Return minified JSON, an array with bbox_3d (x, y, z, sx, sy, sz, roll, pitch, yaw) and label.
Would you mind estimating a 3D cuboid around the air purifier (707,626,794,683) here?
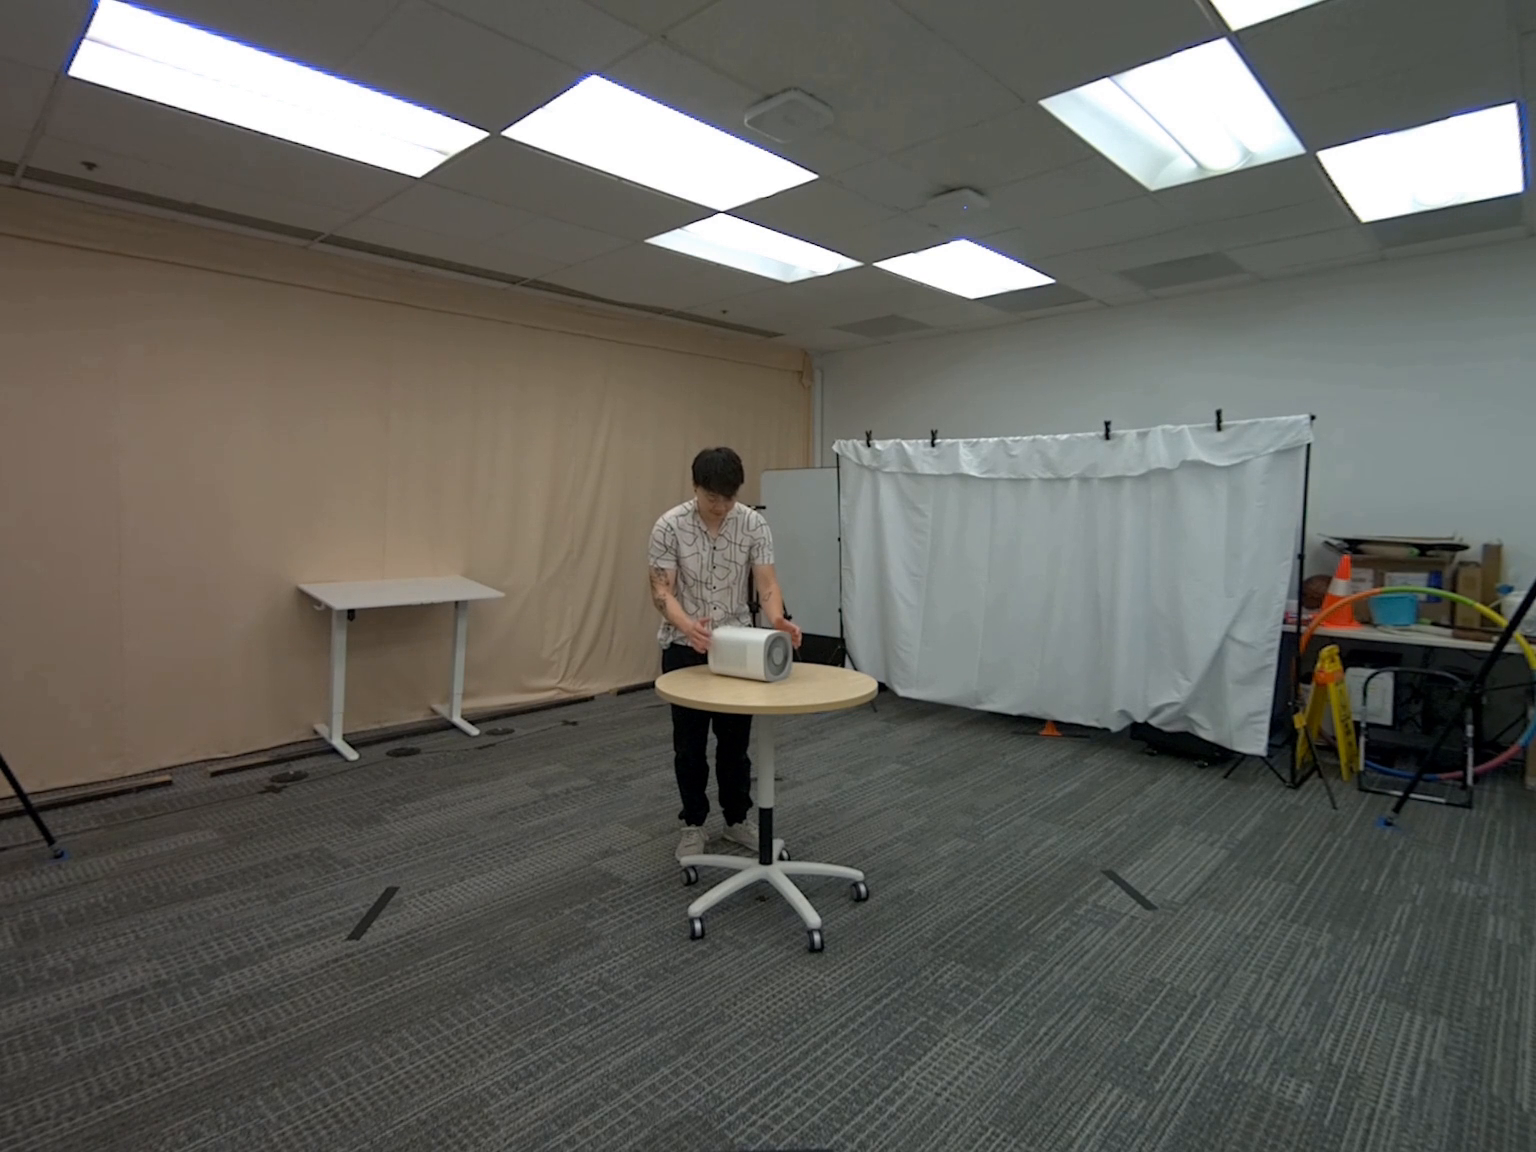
[{"bbox_3d":[-0.065,0.274,2.998,0.274,0.171,0.166,2,3,38],"label":"air purifier"}]
